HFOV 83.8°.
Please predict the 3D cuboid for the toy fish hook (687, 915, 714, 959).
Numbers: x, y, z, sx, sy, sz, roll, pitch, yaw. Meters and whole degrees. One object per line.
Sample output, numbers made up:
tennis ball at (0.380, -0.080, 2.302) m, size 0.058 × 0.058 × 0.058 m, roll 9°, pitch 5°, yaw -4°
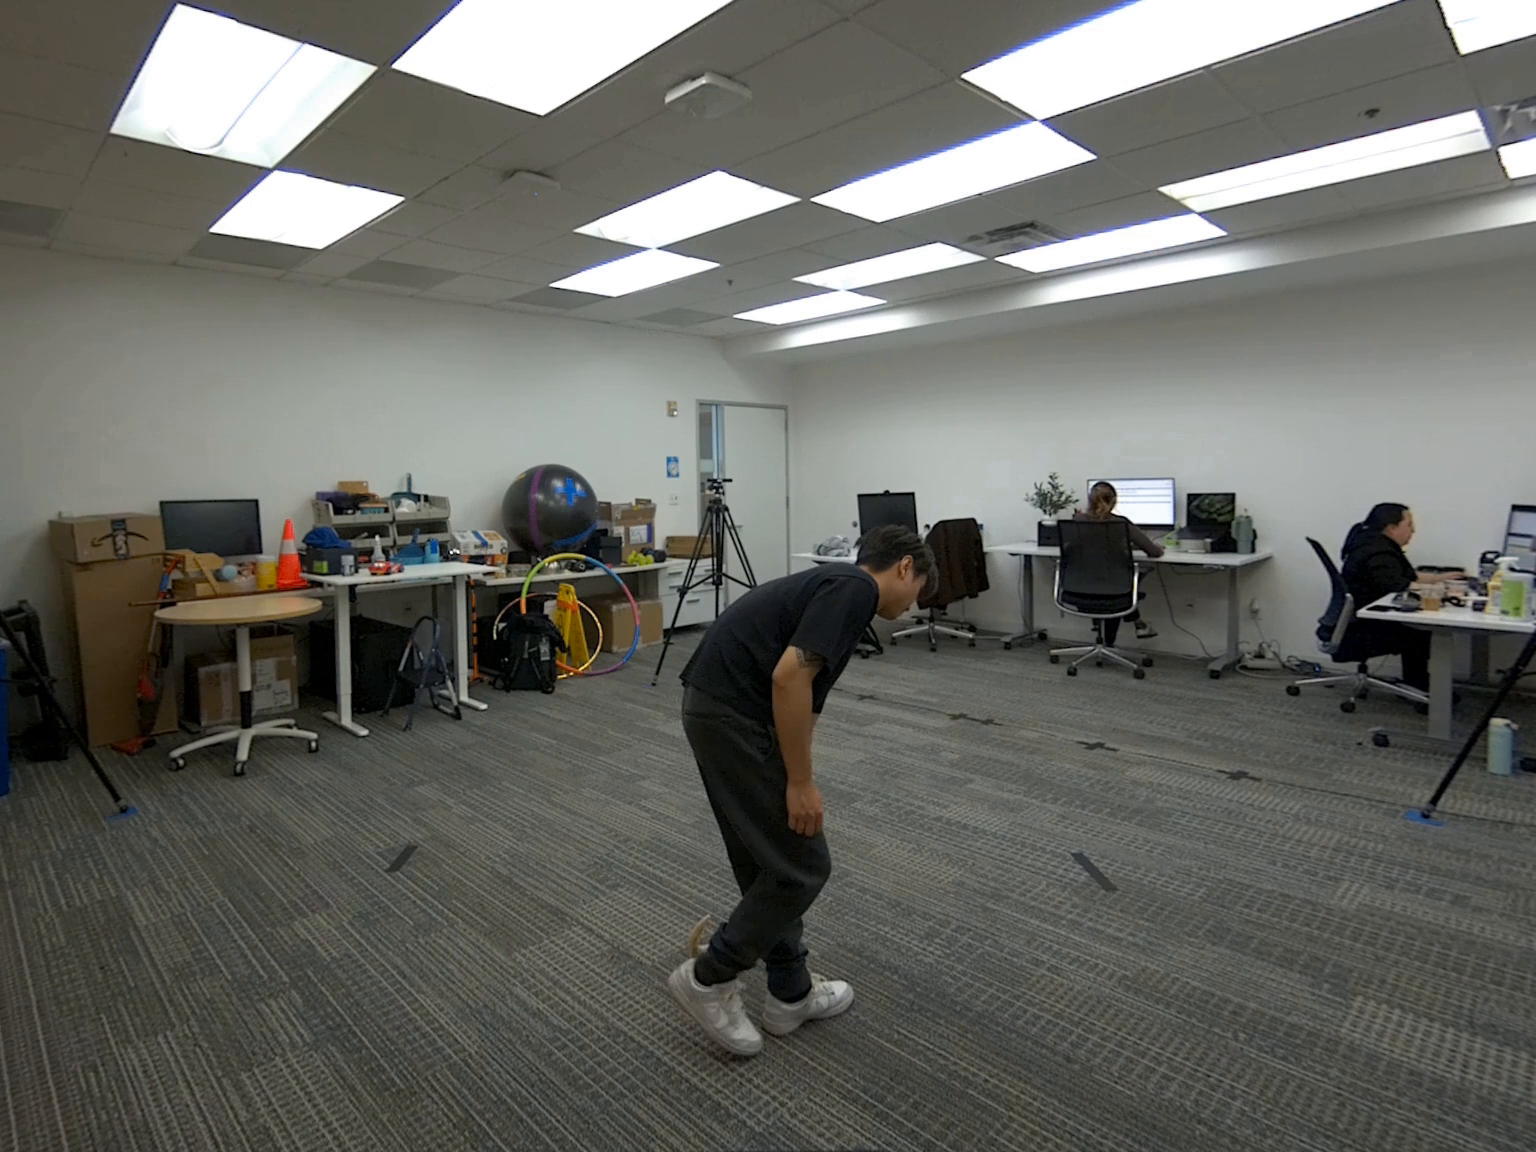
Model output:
toy fish hook at (-0.077, 0.905, 2.399) m, size 0.217 × 0.503 × 0.050 m, roll 7°, pitch 24°, yaw -43°
